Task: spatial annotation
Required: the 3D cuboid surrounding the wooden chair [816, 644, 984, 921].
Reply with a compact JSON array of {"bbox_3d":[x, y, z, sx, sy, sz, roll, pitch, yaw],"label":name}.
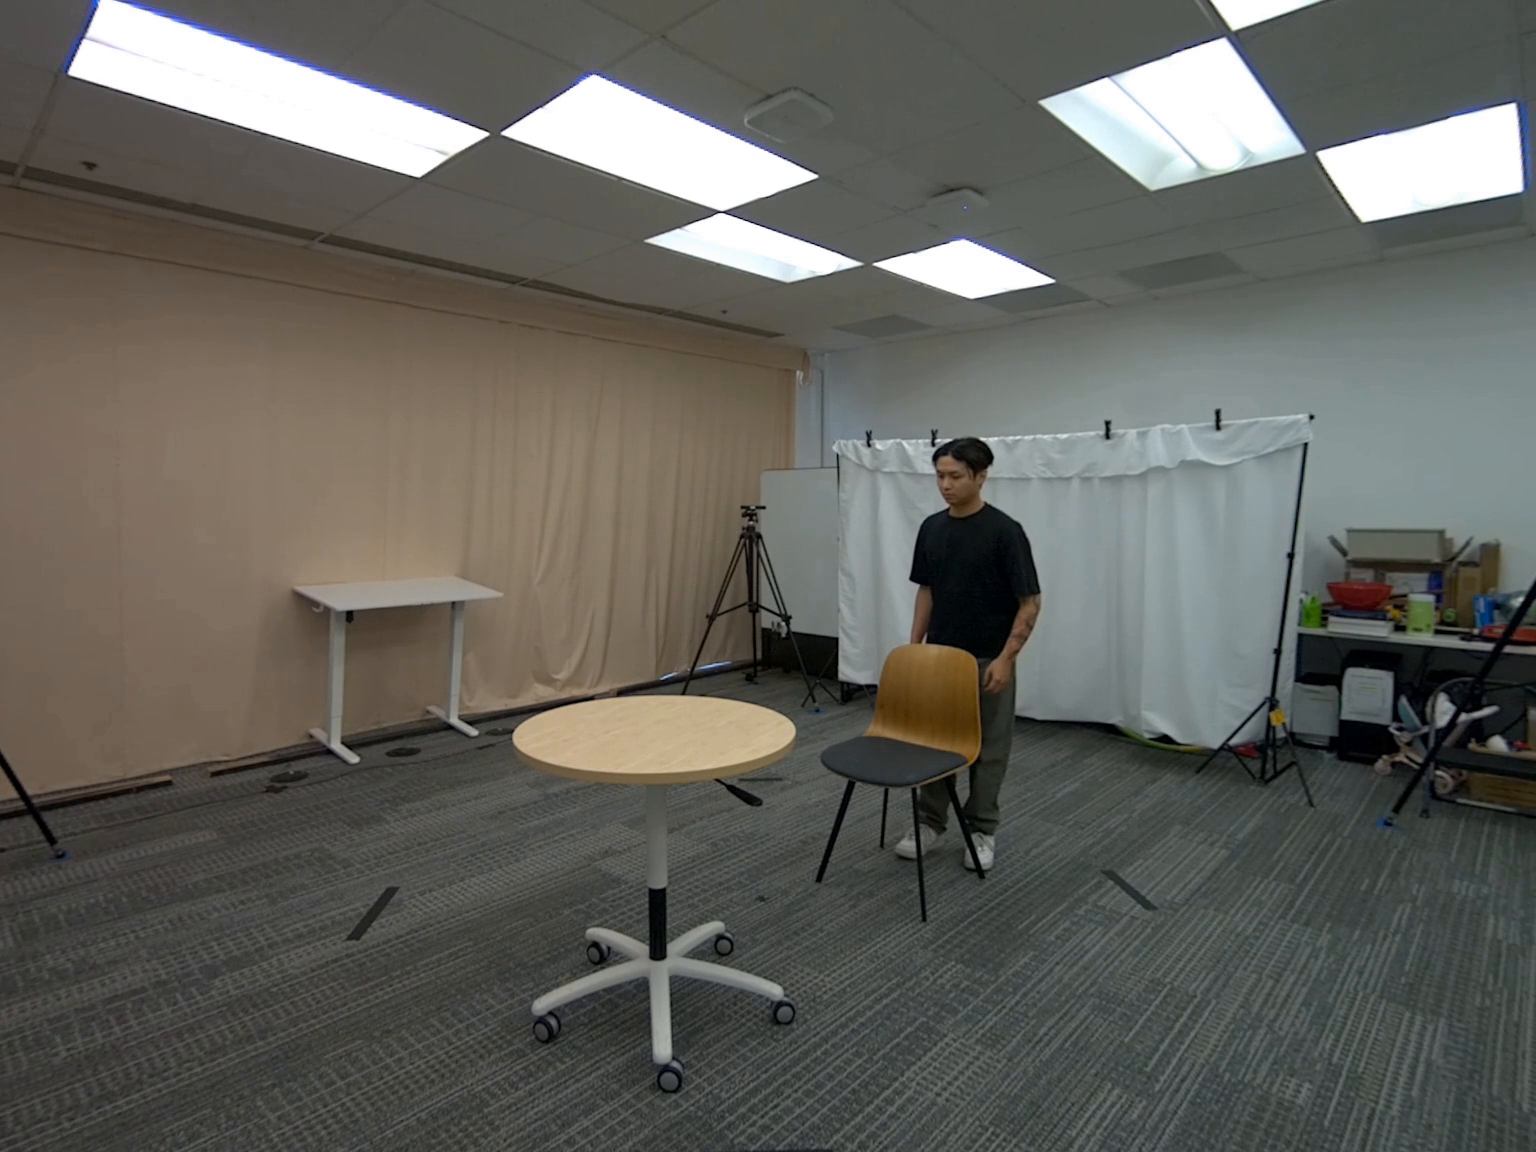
[{"bbox_3d":[0.490,0.703,3.088,0.494,0.877,0.506,3,0,41],"label":"wooden chair"}]
